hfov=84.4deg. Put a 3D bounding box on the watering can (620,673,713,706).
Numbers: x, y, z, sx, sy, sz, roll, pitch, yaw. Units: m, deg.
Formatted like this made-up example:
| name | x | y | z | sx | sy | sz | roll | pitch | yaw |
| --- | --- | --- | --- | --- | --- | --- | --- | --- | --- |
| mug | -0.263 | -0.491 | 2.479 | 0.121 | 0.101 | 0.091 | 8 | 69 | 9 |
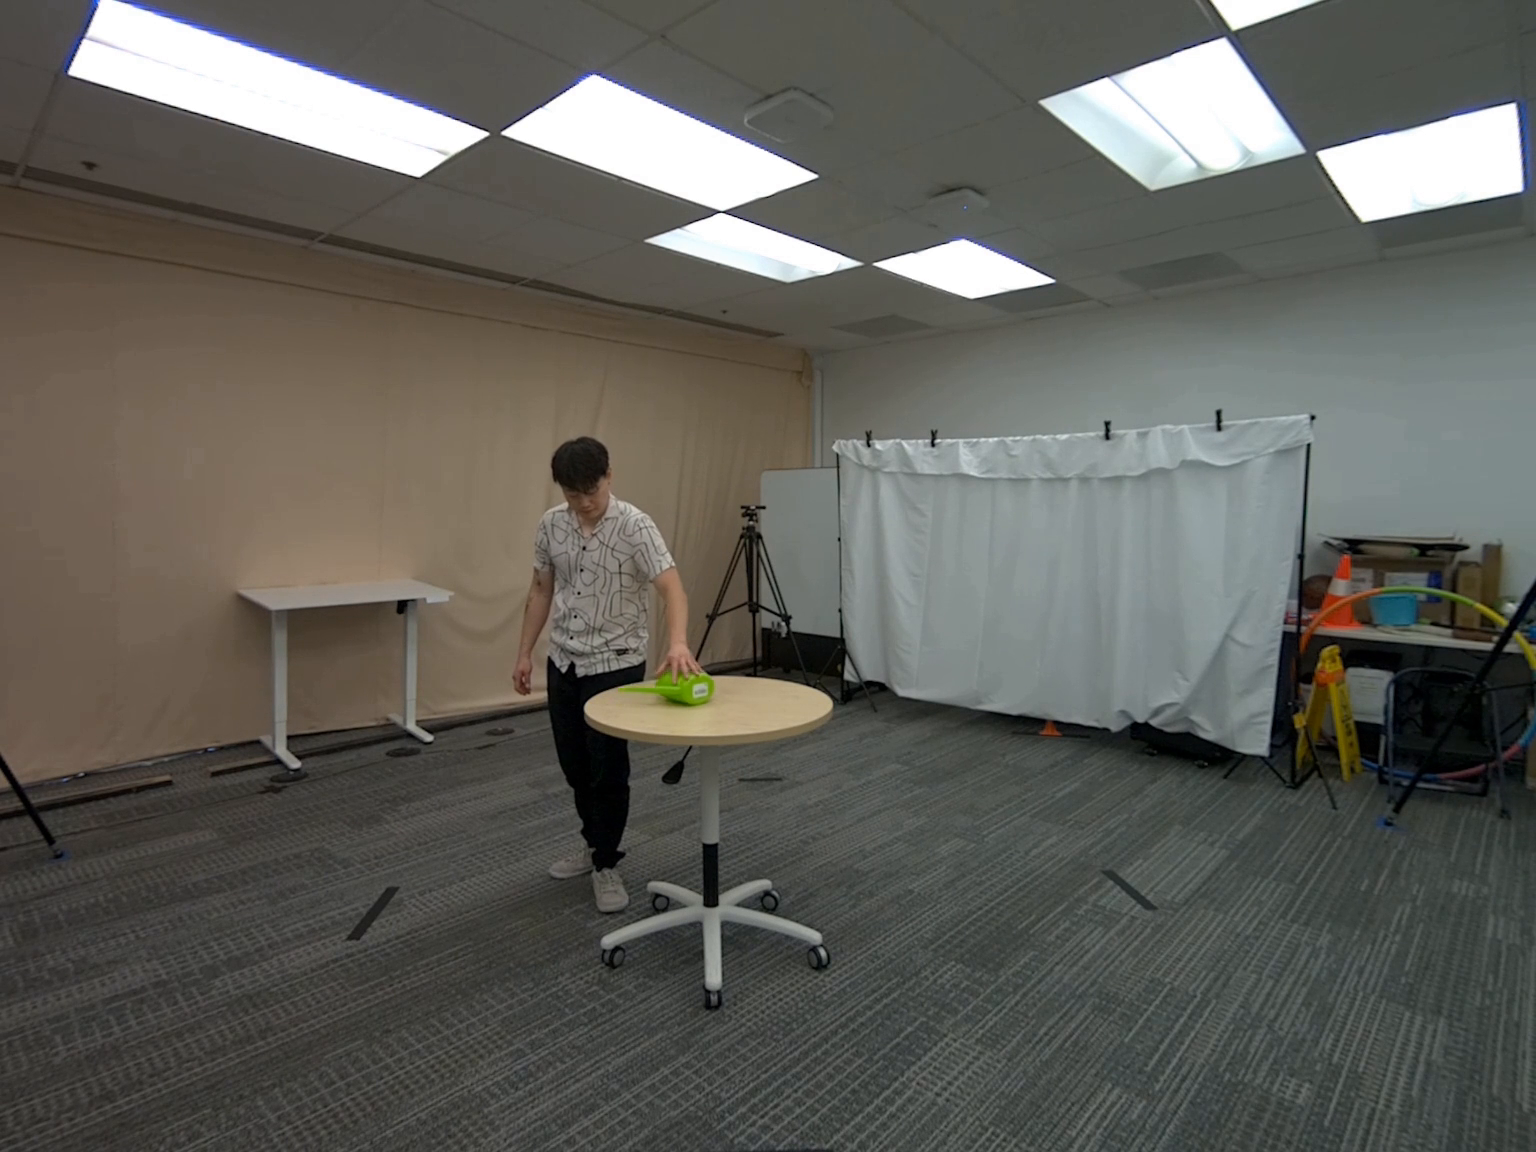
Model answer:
| name | x | y | z | sx | sy | sz | roll | pitch | yaw |
| --- | --- | --- | --- | --- | --- | --- | --- | --- | --- |
| watering can | -0.301 | 0.358 | 2.604 | 0.272 | 0.097 | 0.183 | -22 | 17 | -41 |
